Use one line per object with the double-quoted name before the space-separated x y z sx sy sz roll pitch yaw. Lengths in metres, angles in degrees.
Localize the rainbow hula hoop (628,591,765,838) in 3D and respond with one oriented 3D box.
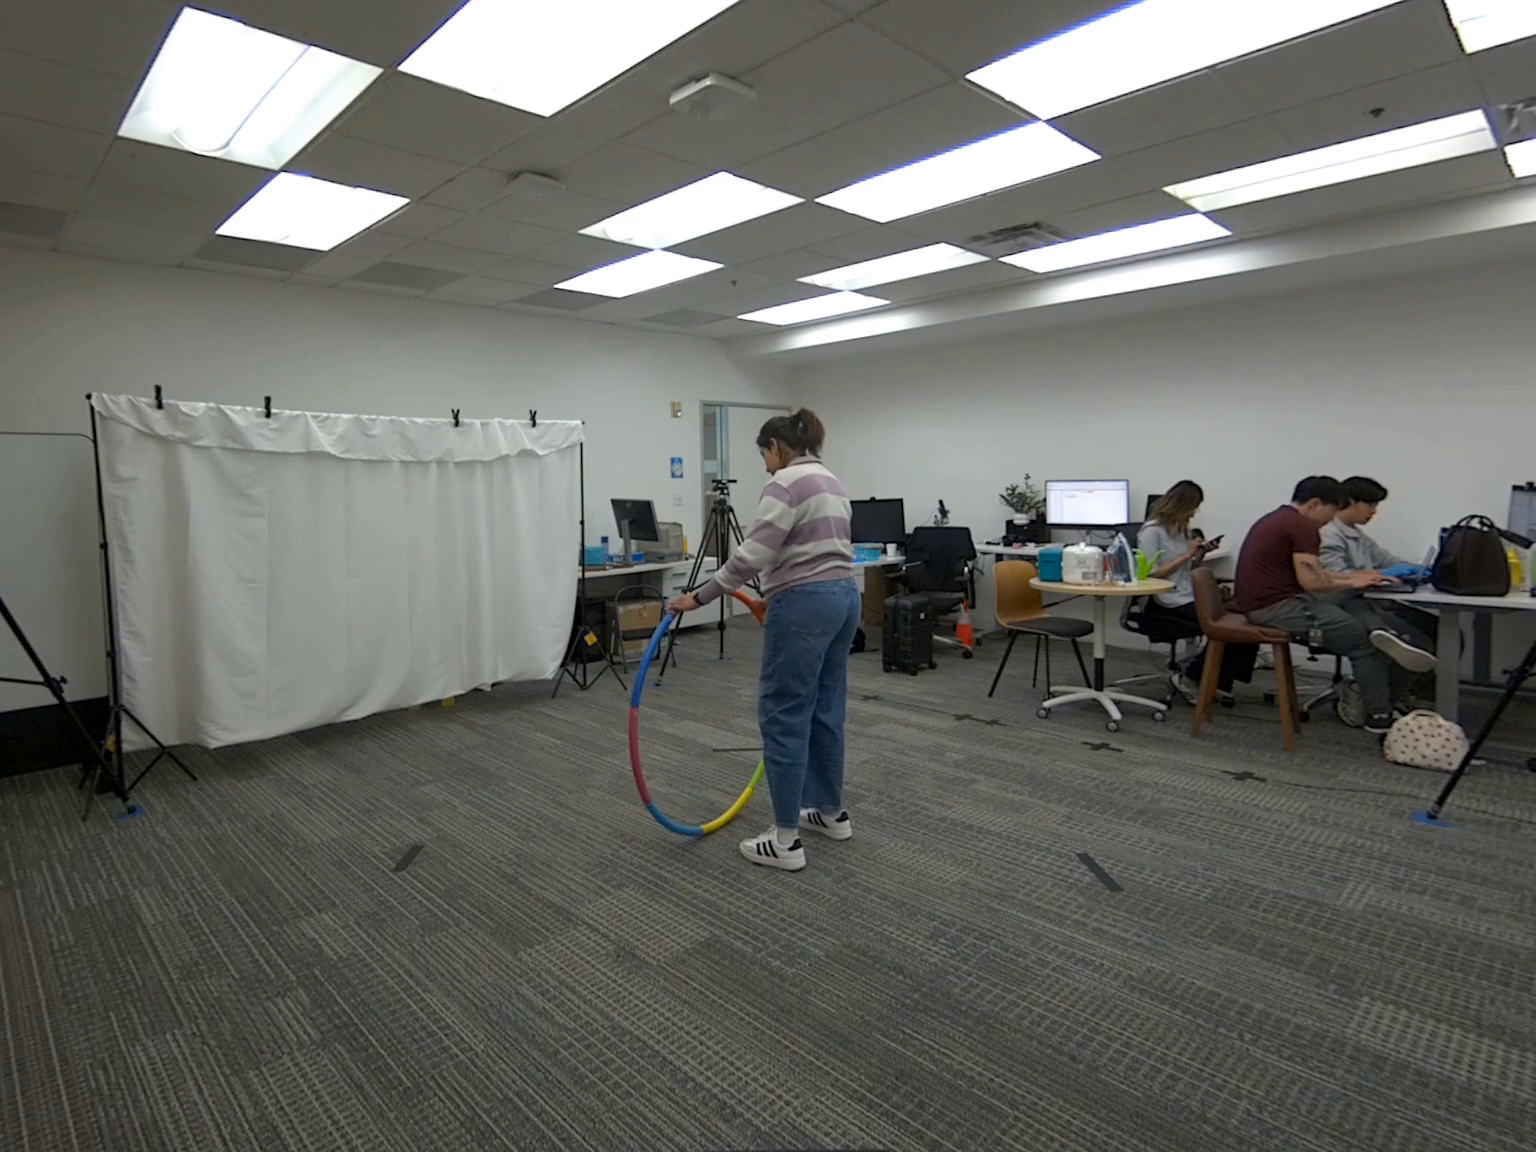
"rainbow hula hoop" -0.221 0.528 3.406 0.053 0.983 0.962 -1 4 33
